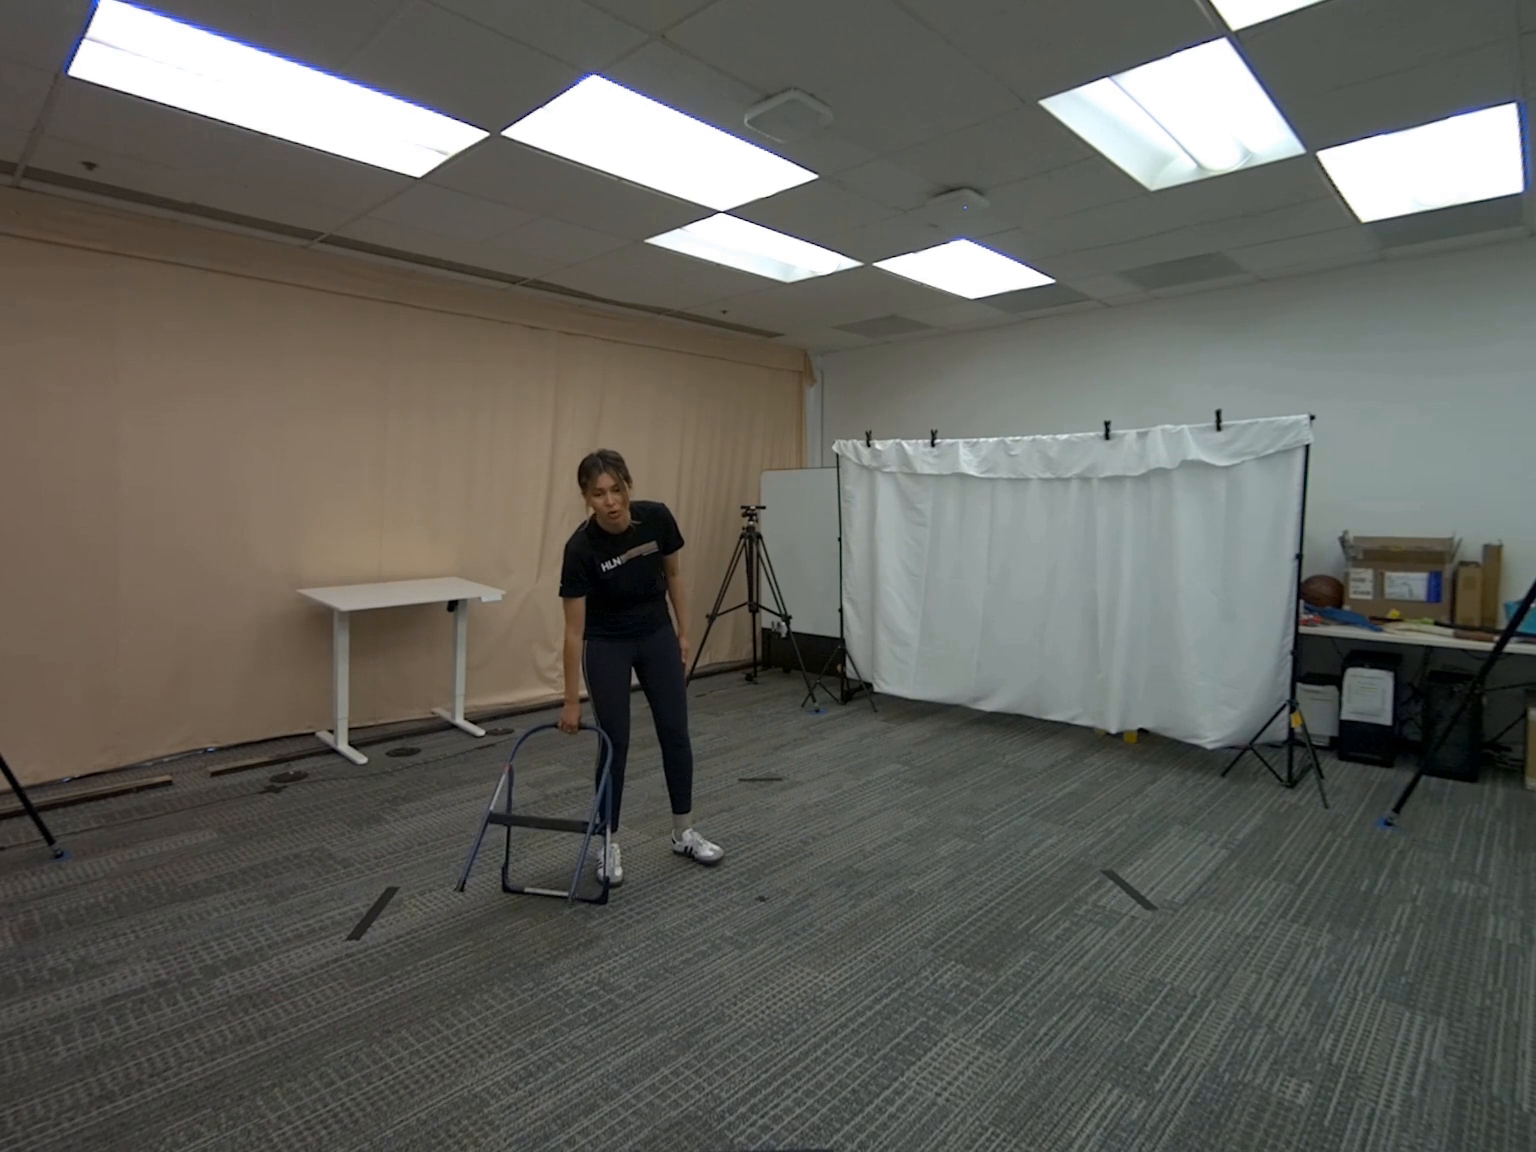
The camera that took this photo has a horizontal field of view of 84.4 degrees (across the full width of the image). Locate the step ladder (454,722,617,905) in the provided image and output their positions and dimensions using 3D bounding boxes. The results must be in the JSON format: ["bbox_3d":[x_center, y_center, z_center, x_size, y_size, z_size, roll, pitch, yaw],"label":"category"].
[{"bbox_3d":[-0.772,0.813,2.963,0.437,0.612,0.340,0,-20,13],"label":"step ladder"}]
